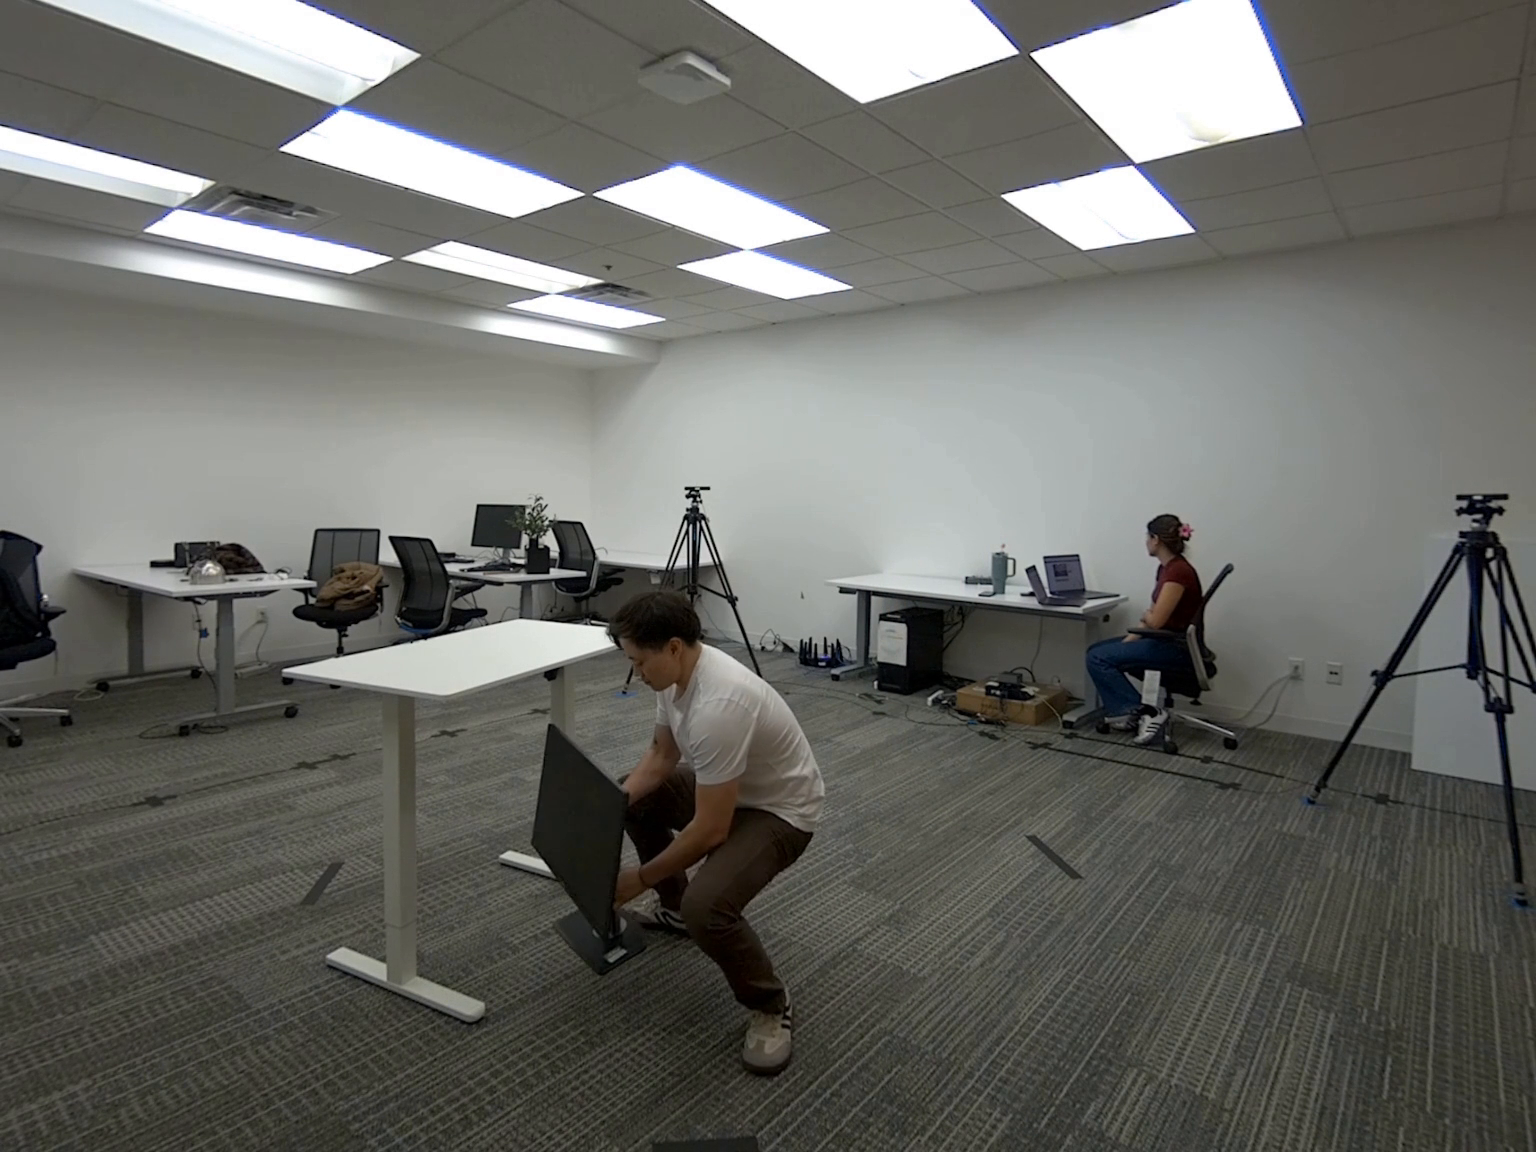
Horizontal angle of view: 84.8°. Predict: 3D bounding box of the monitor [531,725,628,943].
[{"bbox_3d":[-0.474,0.712,2.221,0.182,0.517,0.558,-10,13,-35],"label":"monitor"}]
